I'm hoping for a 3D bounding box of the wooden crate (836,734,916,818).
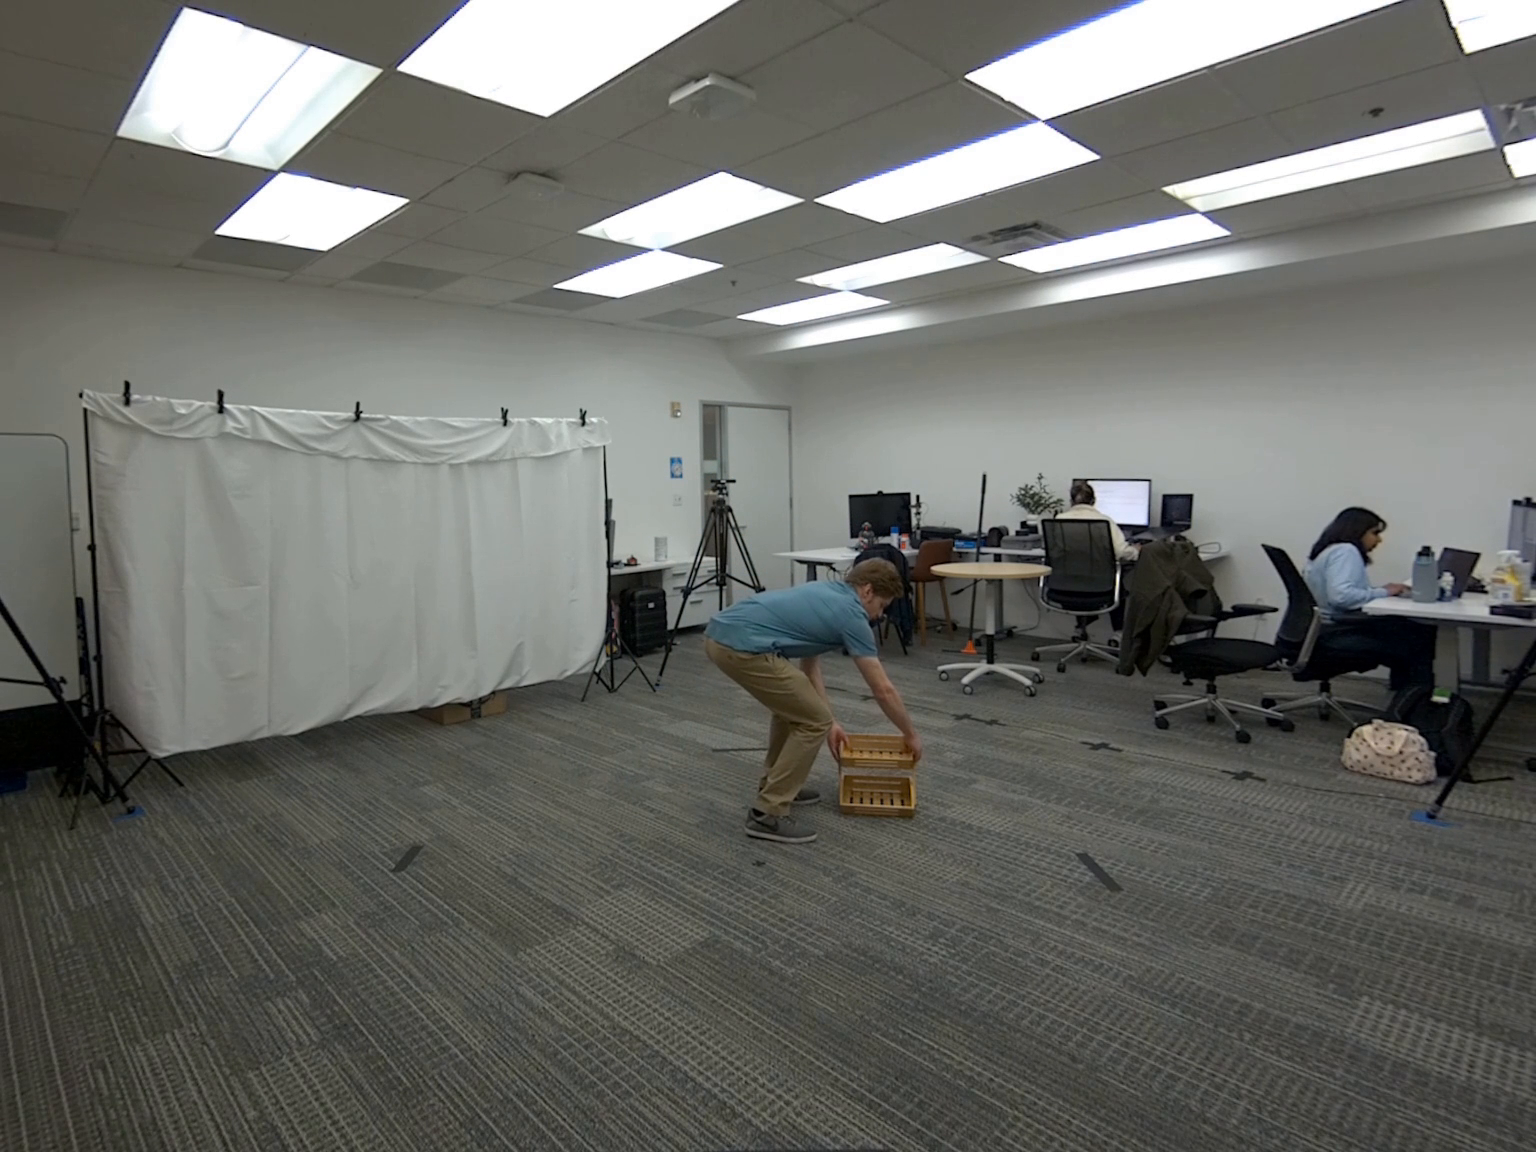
[{"bbox_3d":[0.466,0.845,3.654,0.327,0.273,0.300,0,3,8],"label":"wooden crate"}]
